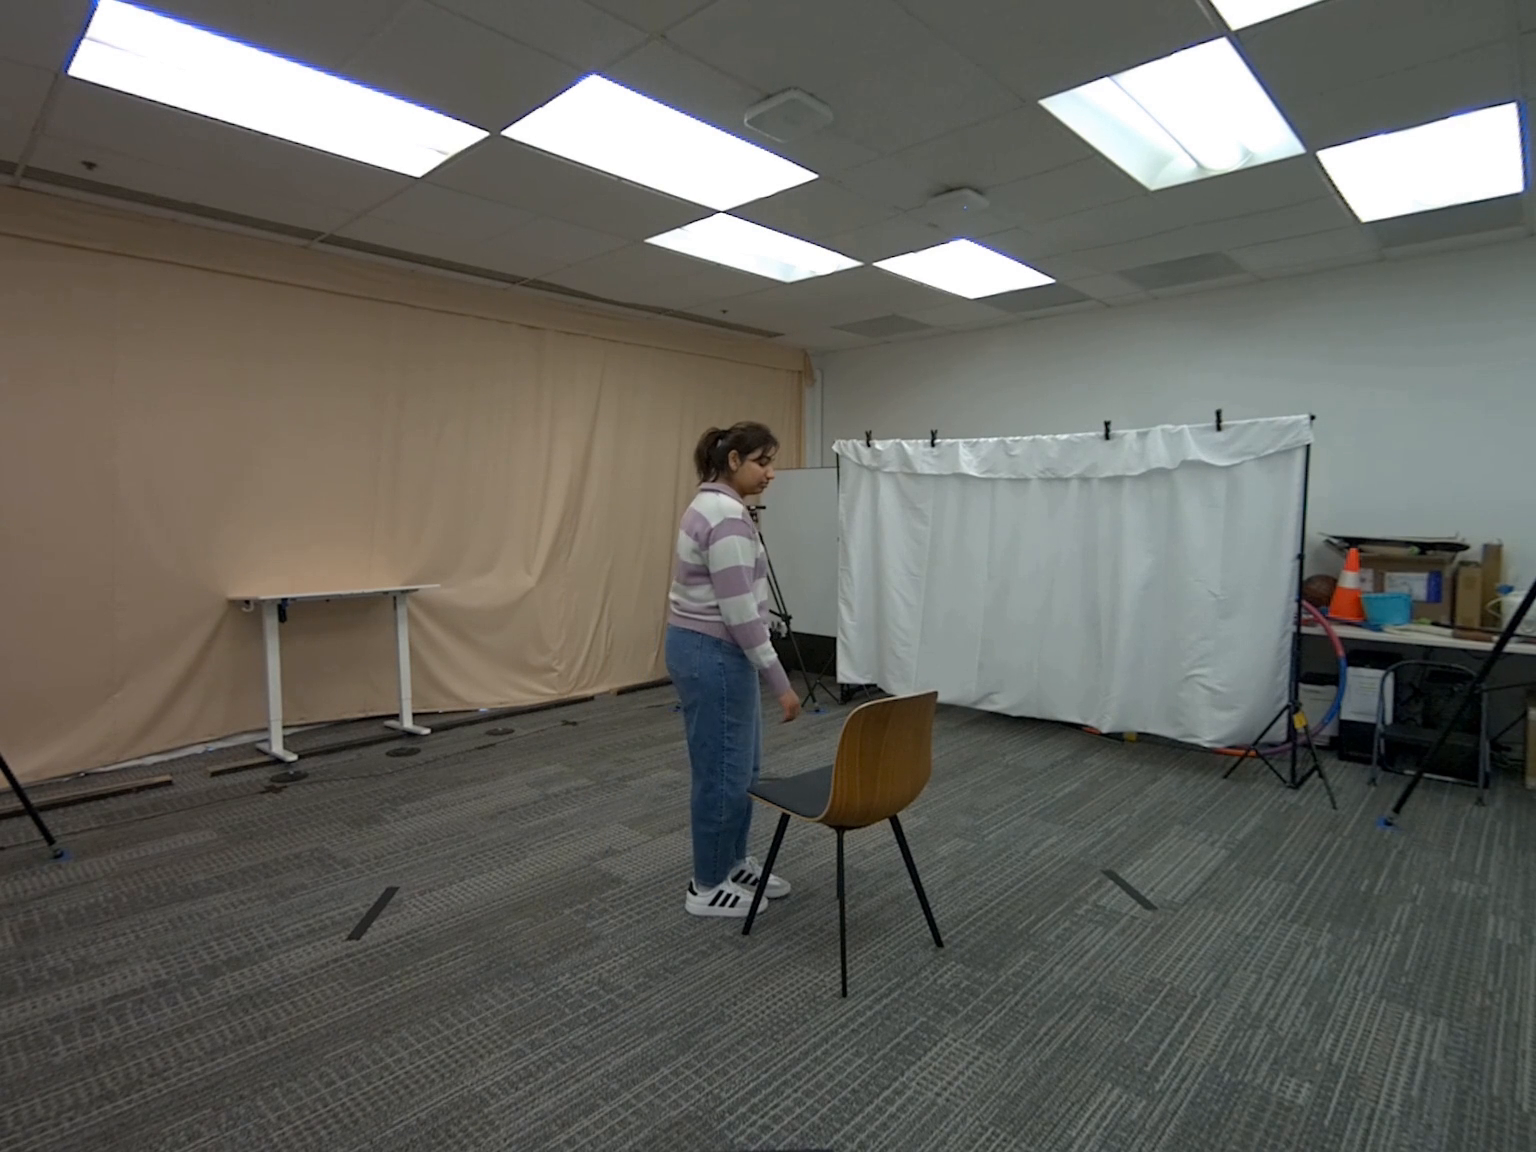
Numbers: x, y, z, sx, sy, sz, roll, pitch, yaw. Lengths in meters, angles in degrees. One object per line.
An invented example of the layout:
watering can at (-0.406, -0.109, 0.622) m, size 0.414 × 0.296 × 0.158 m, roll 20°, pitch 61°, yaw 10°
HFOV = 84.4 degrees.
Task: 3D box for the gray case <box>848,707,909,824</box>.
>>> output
gray case at (0.333, 0.572, 2.602) m, size 0.104 × 0.260 × 0.257 m, roll 11°, pitch 5°, yaw 1°
